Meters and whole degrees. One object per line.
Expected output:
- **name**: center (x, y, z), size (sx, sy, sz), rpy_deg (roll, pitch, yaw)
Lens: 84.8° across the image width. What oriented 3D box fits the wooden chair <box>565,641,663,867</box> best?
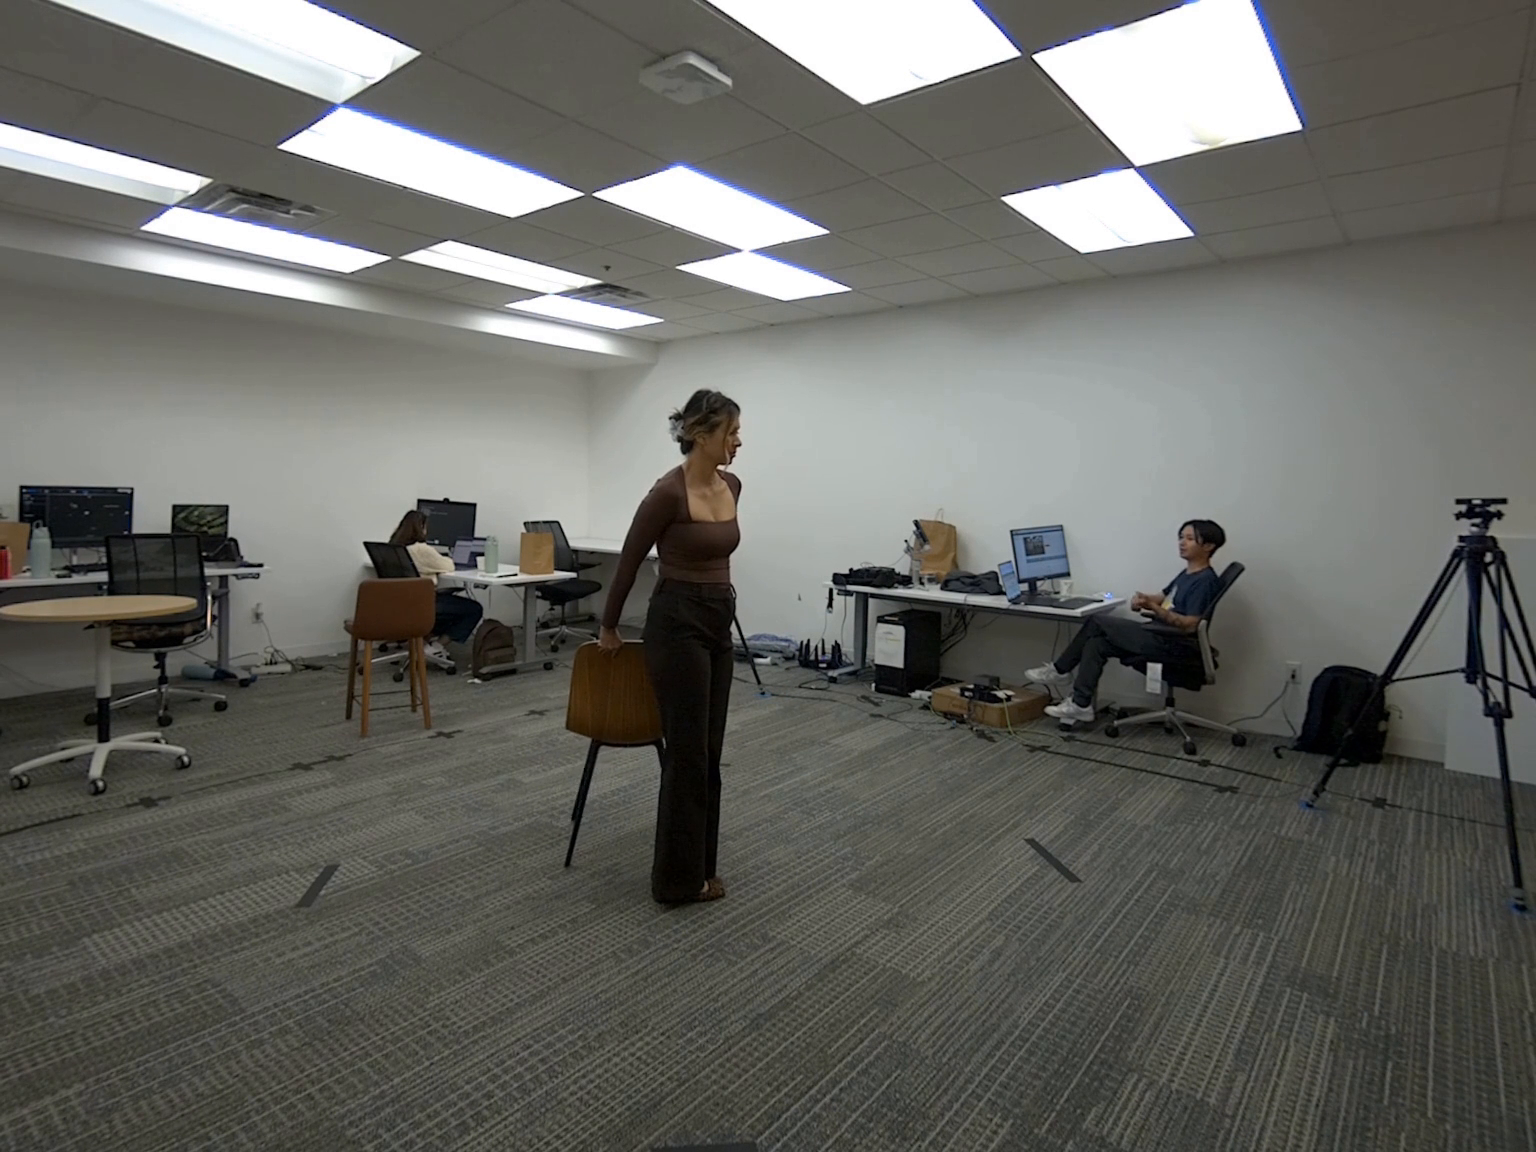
- **wooden chair**: center (-0.567, 0.611, 3.318), size (0.475, 0.871, 0.531), rpy_deg (0, 8, -8)
